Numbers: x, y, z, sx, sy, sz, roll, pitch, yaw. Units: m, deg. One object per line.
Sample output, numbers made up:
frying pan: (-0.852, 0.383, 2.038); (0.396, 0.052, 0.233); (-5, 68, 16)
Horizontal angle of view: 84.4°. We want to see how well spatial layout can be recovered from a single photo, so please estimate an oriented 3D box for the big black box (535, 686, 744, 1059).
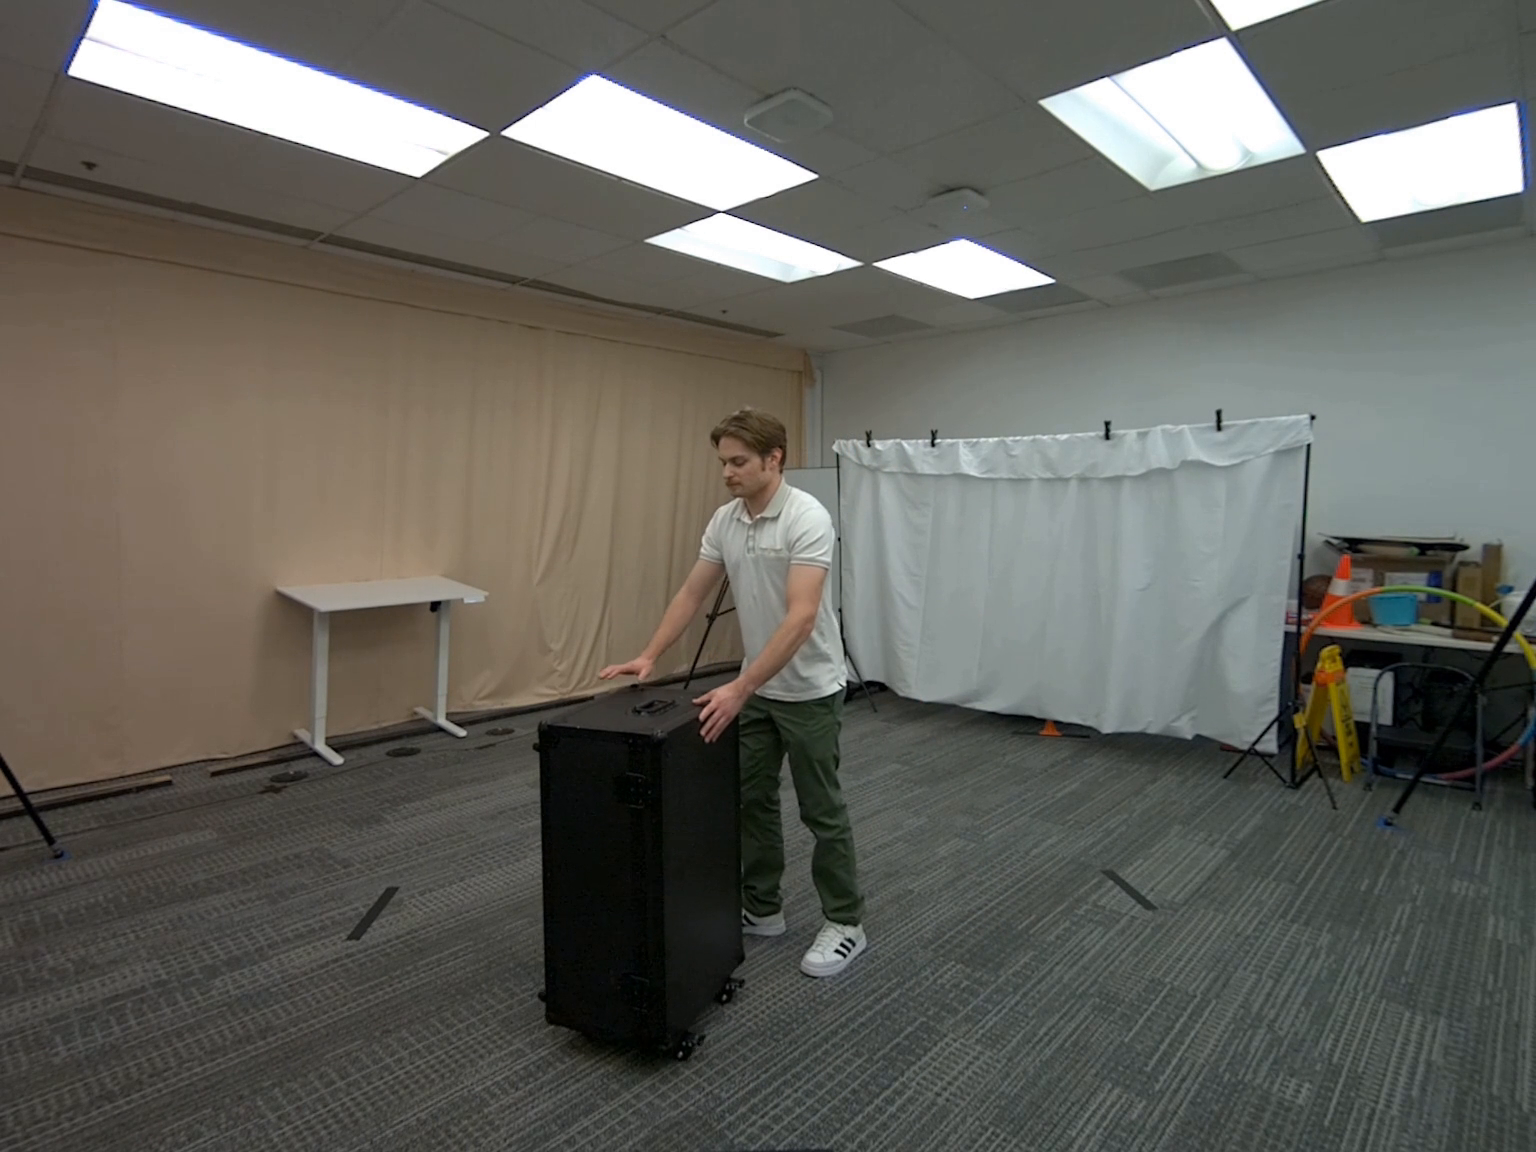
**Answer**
big black box: (-0.335, 0.780, 2.280); (0.394, 0.867, 0.512); (0, 2, 21)
